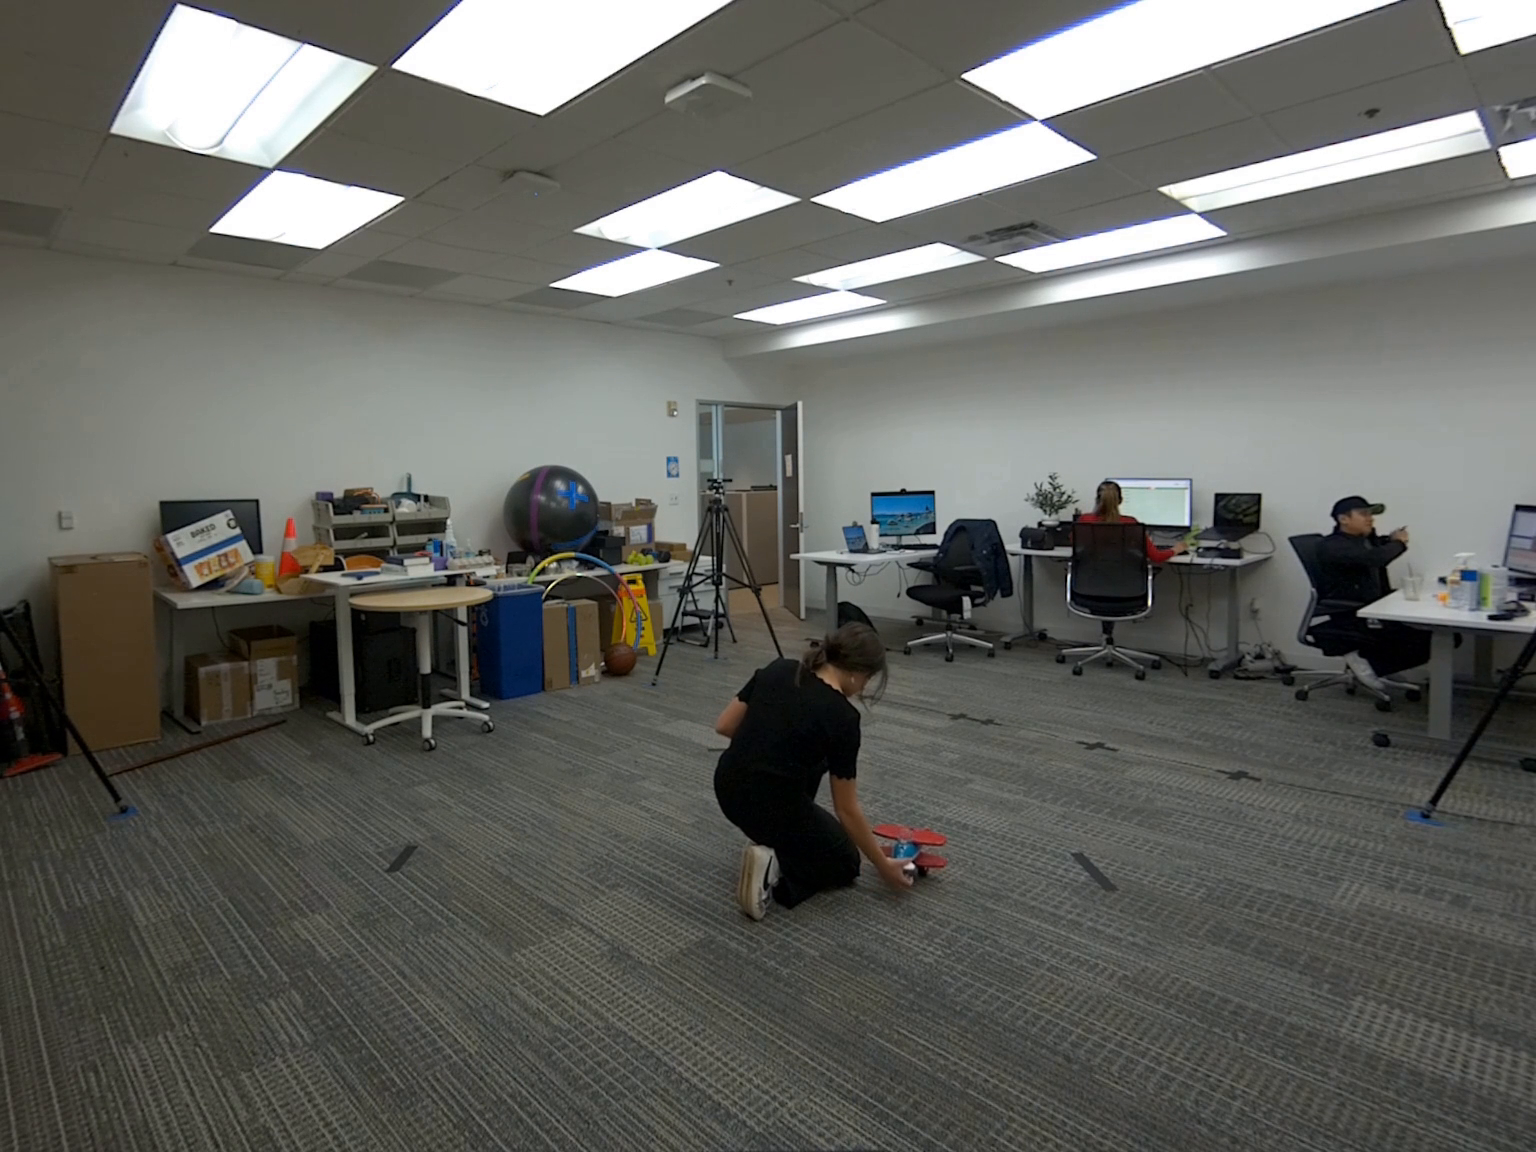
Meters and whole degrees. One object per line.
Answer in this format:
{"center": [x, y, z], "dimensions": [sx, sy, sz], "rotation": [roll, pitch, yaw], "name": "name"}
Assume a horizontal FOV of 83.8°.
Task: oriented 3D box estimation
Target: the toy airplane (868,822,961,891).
{"center": [0.494, 0.955, 2.937], "dimensions": [0.251, 0.158, 0.257], "rotation": [5, -9, -1], "name": "toy airplane"}
